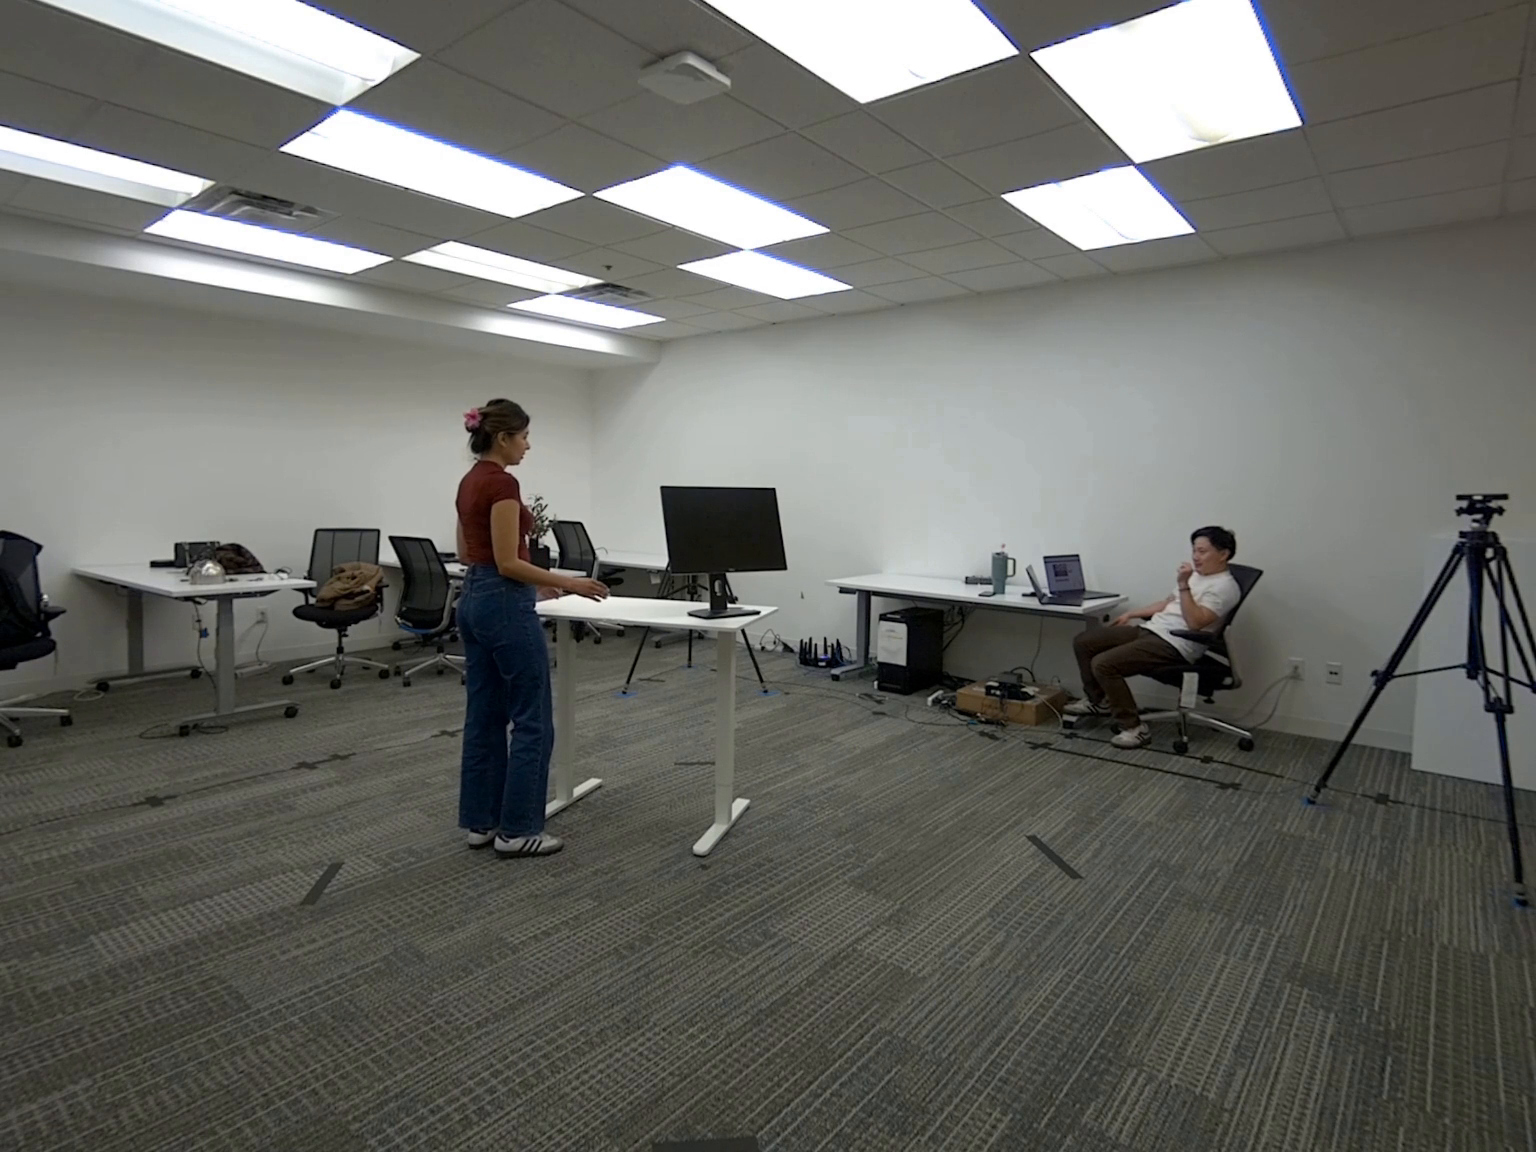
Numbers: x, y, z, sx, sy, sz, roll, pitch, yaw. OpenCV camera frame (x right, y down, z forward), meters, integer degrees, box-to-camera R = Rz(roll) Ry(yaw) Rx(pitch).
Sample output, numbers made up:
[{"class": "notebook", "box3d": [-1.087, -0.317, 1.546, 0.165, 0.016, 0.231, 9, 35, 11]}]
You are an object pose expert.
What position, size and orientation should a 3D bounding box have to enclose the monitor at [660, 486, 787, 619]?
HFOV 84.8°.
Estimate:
[{"class": "monitor", "box3d": [-0.196, -0.099, 3.423, 0.524, 0.522, 0.192, -2, 1, -32]}]
